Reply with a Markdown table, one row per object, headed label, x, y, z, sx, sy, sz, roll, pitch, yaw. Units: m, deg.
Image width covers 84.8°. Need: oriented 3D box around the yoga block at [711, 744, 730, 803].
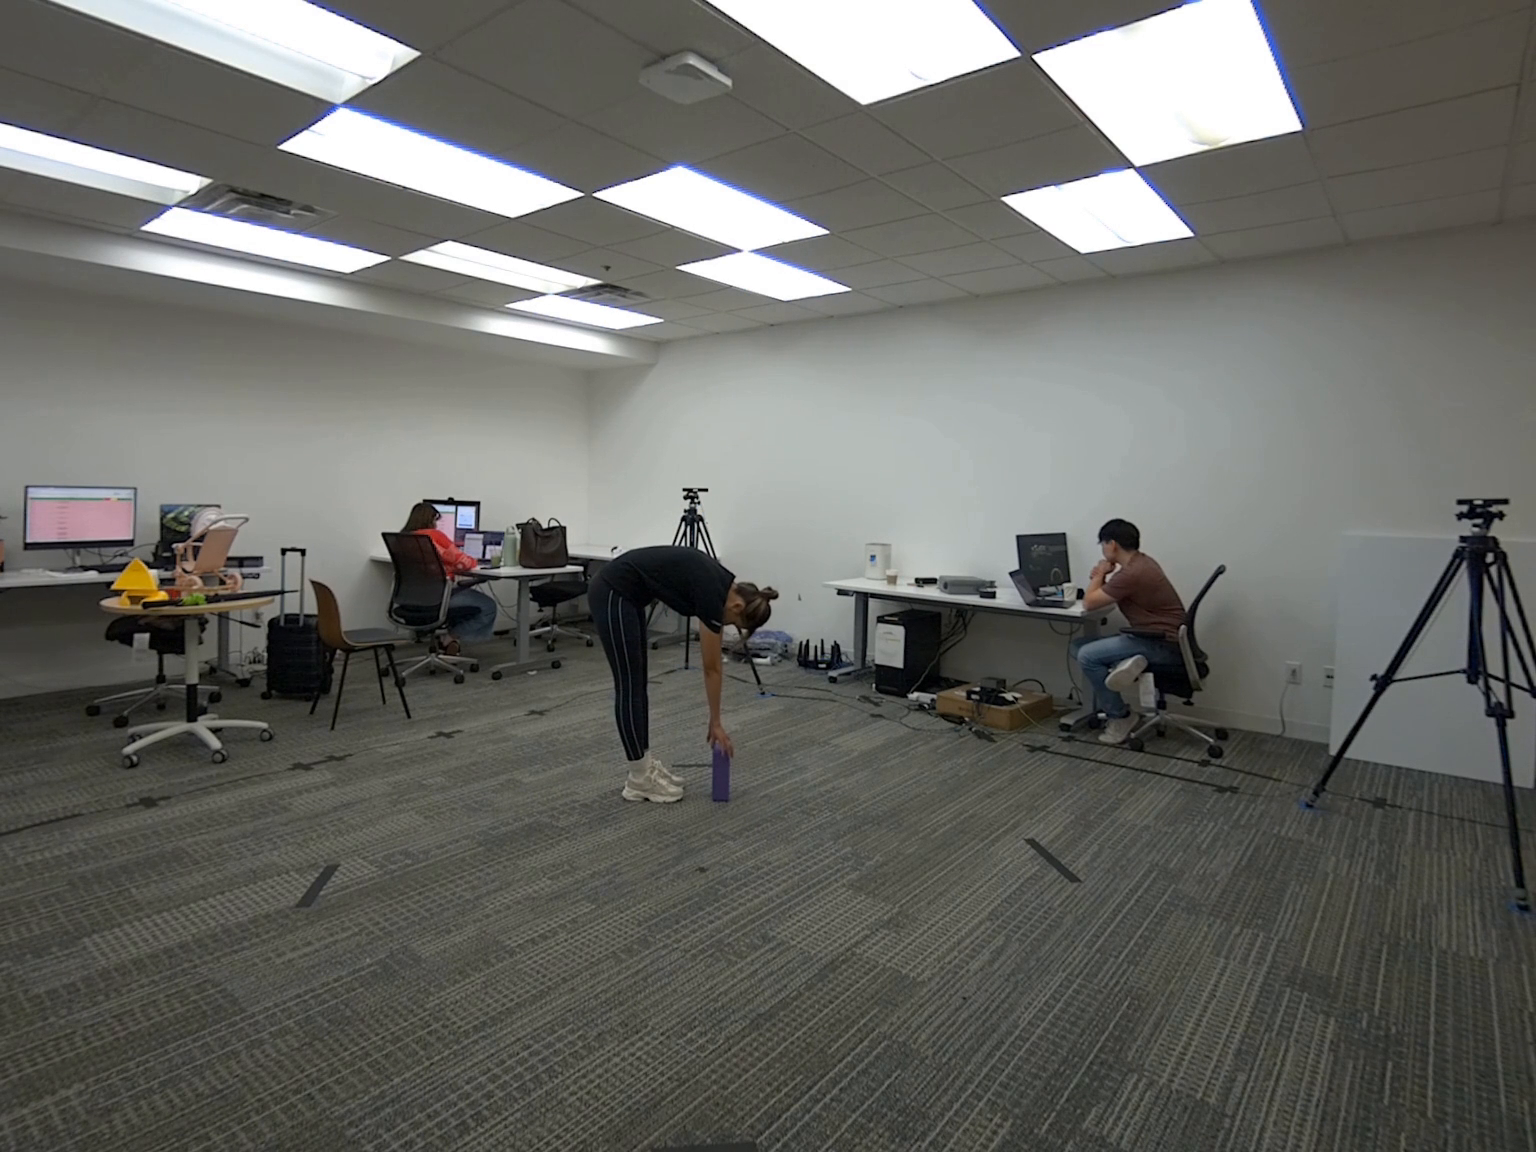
| label | x | y | z | sx | sy | sz | roll | pitch | yaw |
| --- | --- | --- | --- | --- | --- | --- | --- | --- | --- |
| yoga block | -0.222 | 0.882 | 3.855 | 0.076 | 0.228 | 0.150 | 0 | 5 | -4 |
